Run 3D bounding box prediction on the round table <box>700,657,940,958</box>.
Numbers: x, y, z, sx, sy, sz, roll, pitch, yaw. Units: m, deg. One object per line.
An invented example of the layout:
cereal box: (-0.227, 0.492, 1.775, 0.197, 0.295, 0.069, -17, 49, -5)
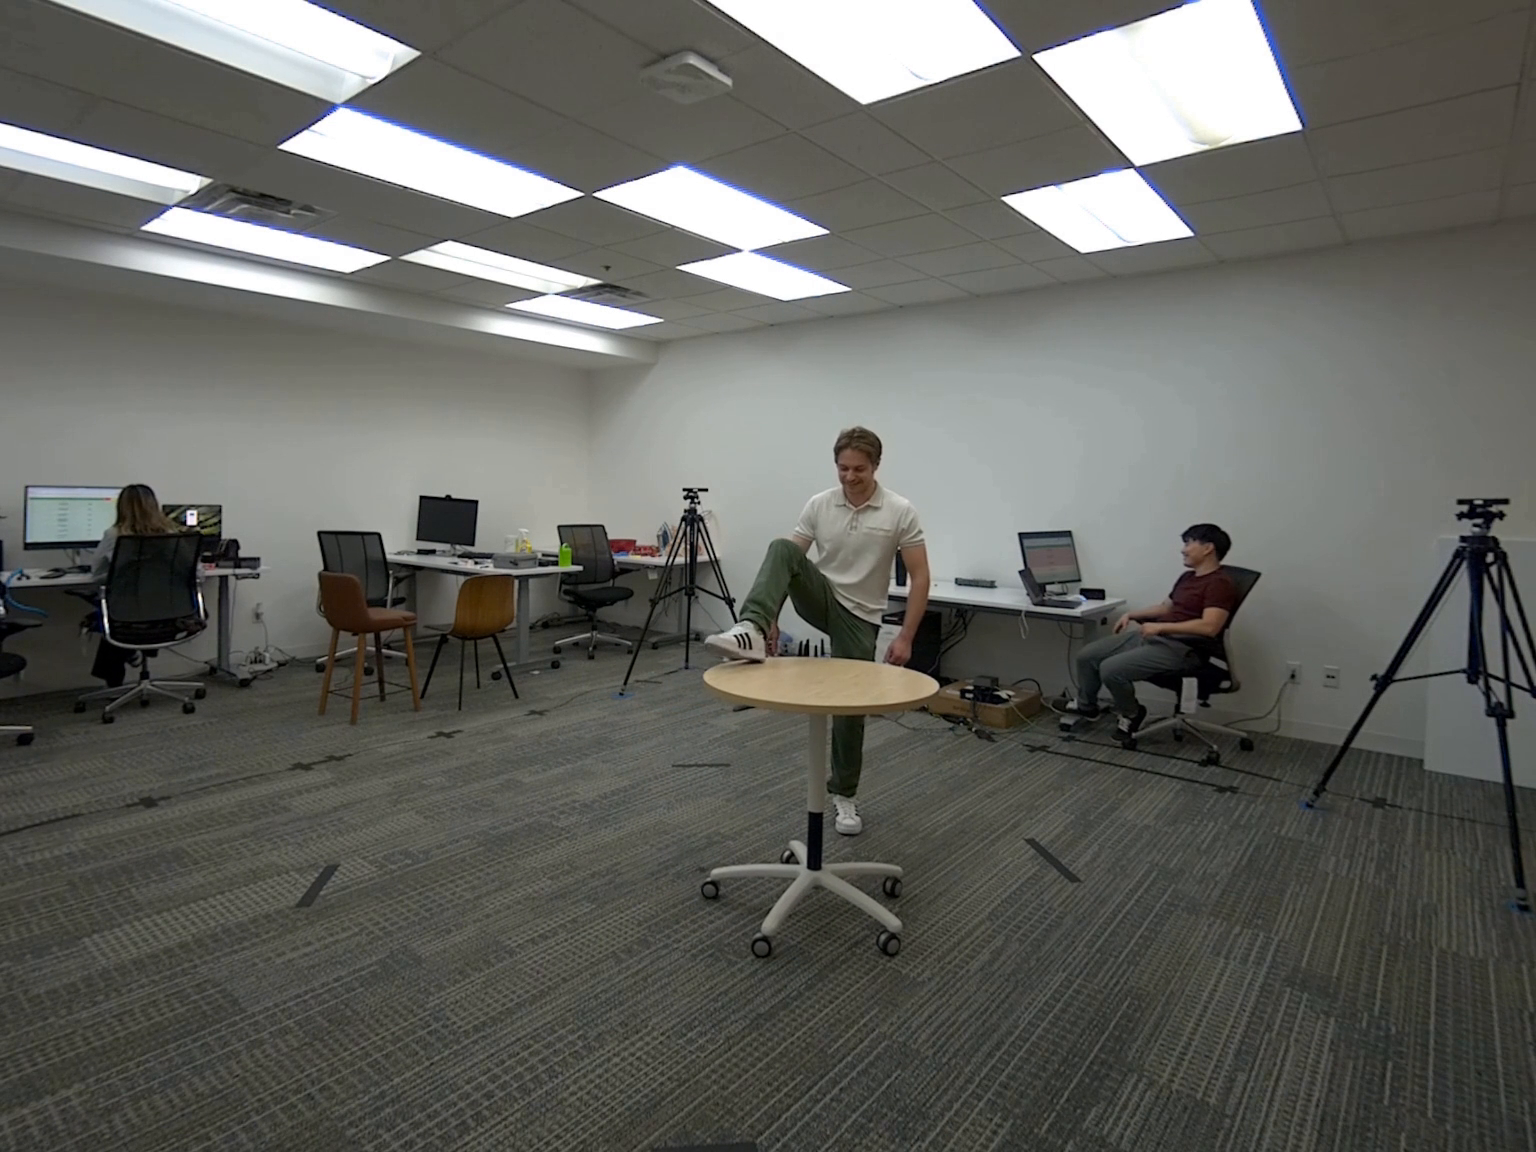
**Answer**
round table: (0.147, 0.722, 2.806, 0.763, 0.792, 0.767, 1, 4, -2)
